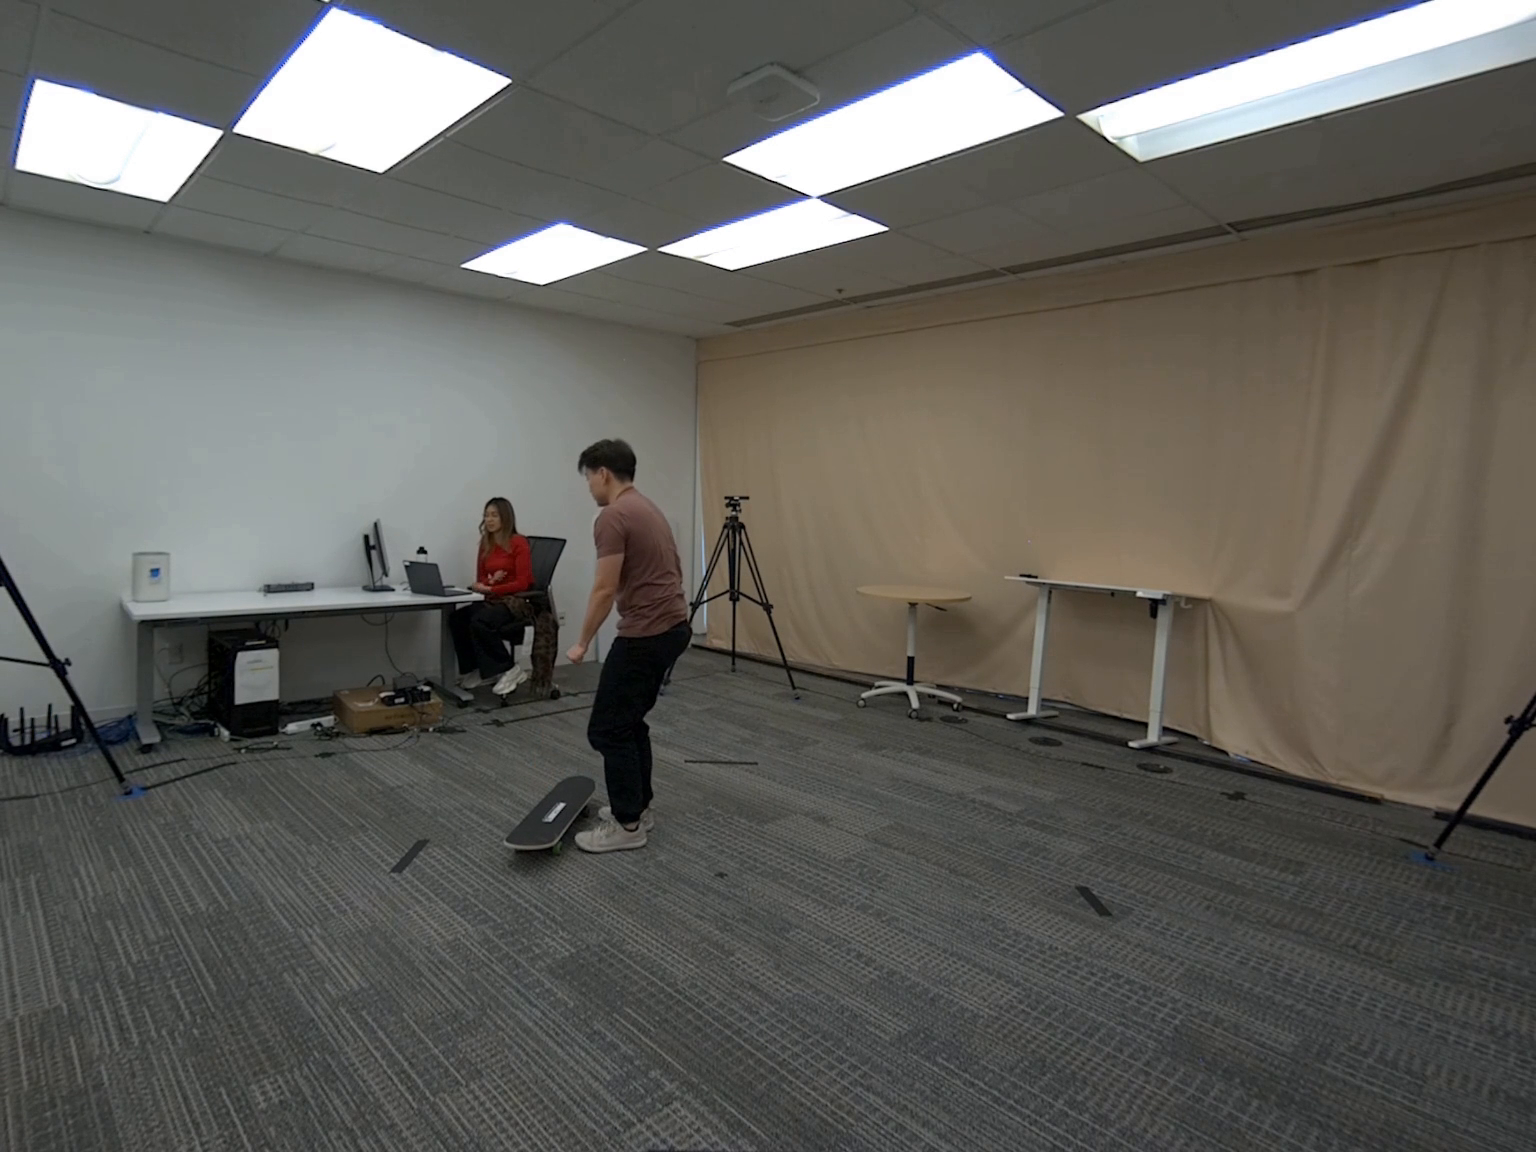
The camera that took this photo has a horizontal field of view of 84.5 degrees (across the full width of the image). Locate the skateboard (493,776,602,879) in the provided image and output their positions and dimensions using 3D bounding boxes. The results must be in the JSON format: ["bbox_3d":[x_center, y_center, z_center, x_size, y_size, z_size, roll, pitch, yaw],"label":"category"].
[{"bbox_3d":[-0.878,0.999,3.448,0.194,0.110,0.784,2,4,3],"label":"skateboard"}]
